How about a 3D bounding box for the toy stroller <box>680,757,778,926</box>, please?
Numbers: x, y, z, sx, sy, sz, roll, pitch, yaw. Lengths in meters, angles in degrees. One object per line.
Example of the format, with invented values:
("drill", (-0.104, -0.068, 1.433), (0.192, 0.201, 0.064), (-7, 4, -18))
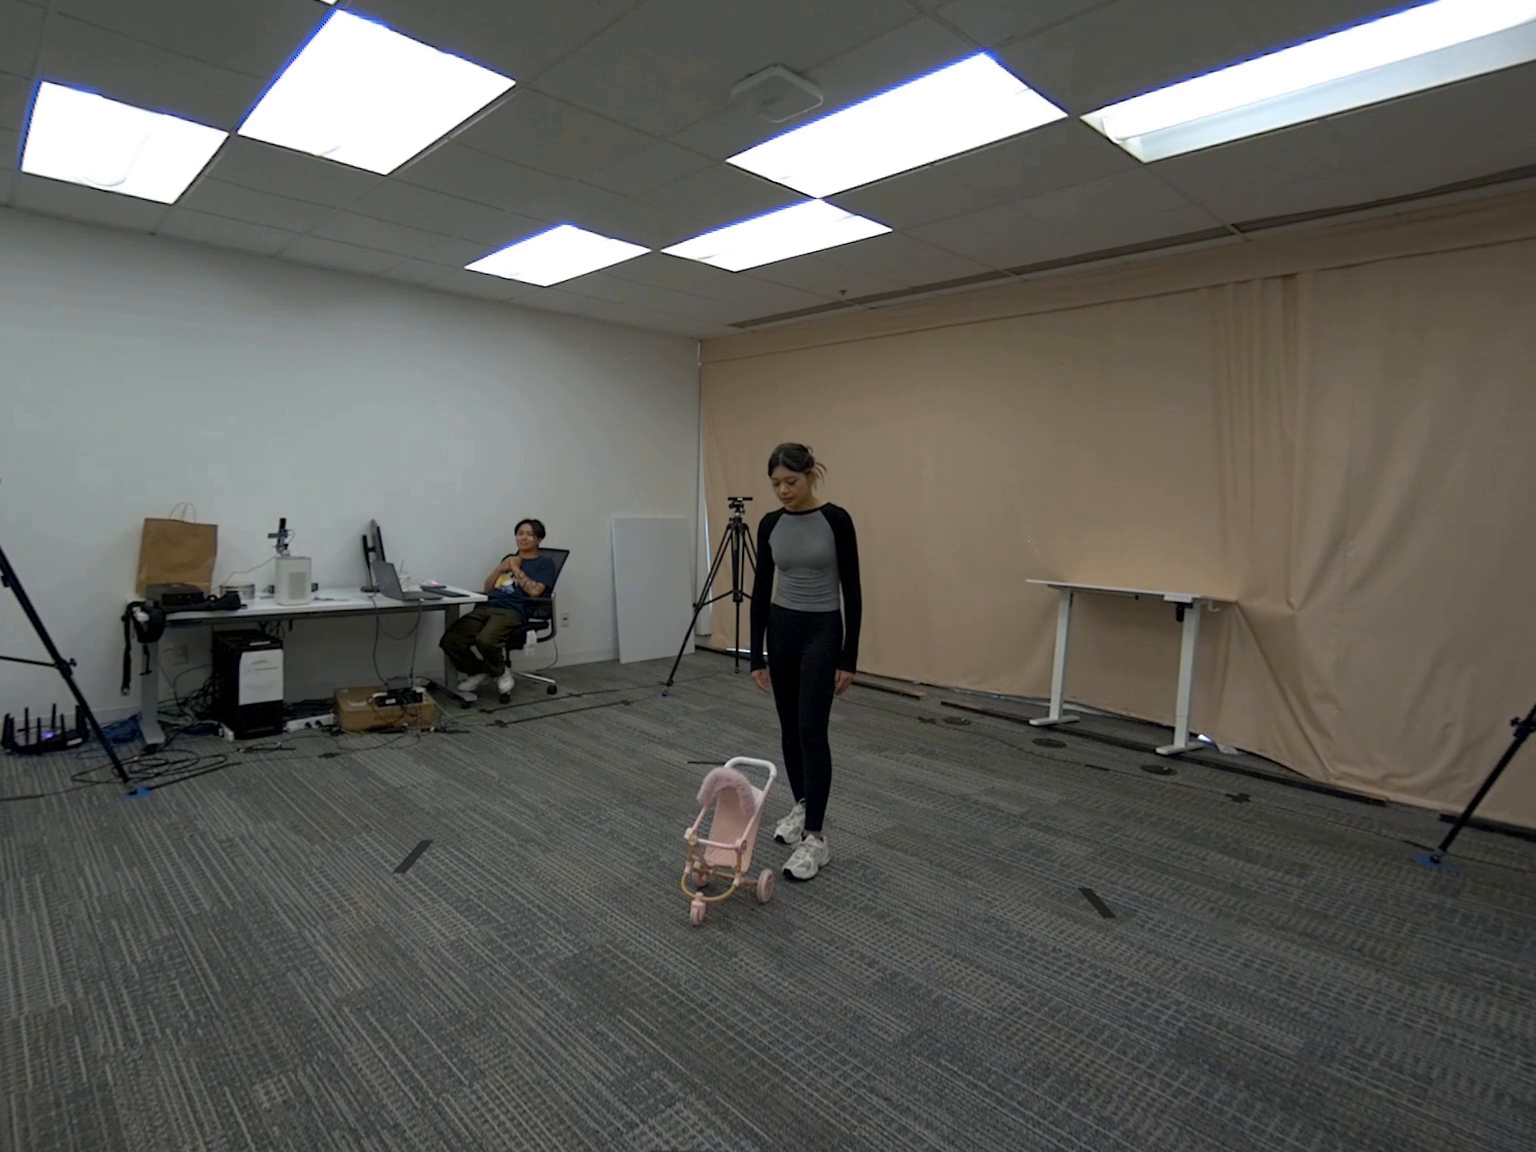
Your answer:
("toy stroller", (-0.156, 0.901, 2.898), (0.287, 0.538, 0.332), (2, -11, 30))
